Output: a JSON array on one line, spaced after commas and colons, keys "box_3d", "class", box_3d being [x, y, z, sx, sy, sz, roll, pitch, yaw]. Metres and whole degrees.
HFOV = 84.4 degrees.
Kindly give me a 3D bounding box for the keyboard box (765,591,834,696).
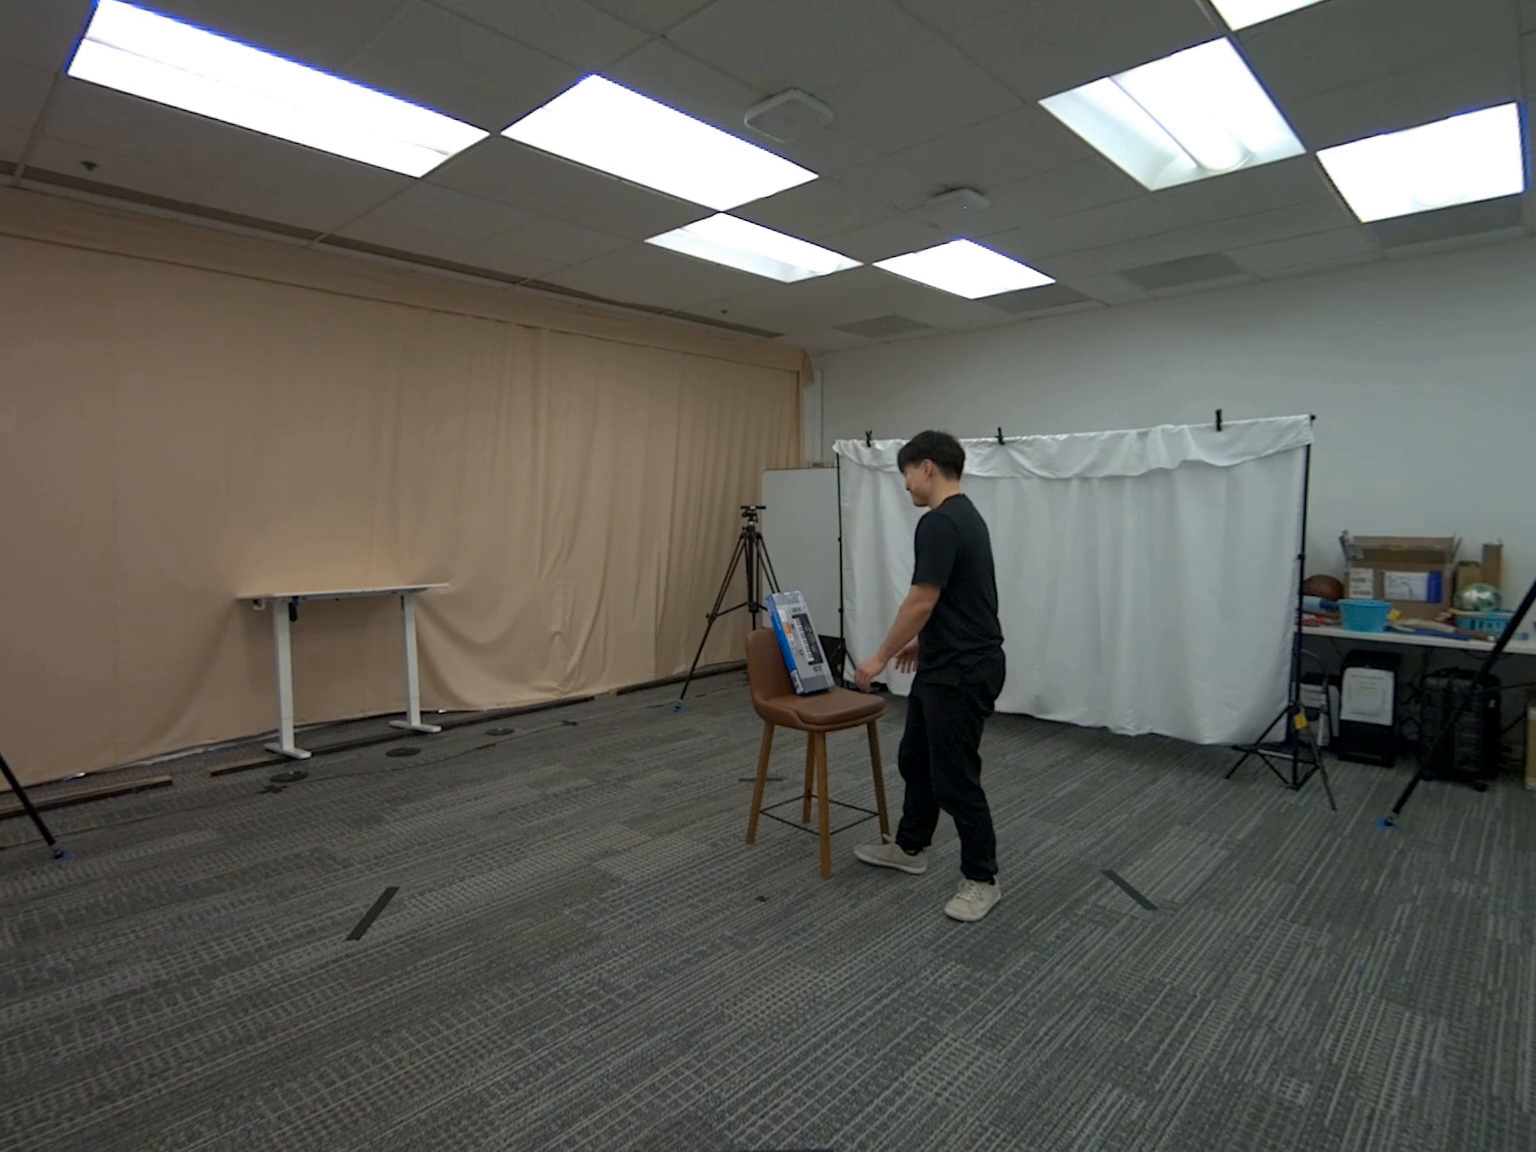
[{"box_3d": [0.137, 0.279, 3.560, 0.171, 0.444, 0.060, -4, -24, -37], "class": "keyboard box"}]
